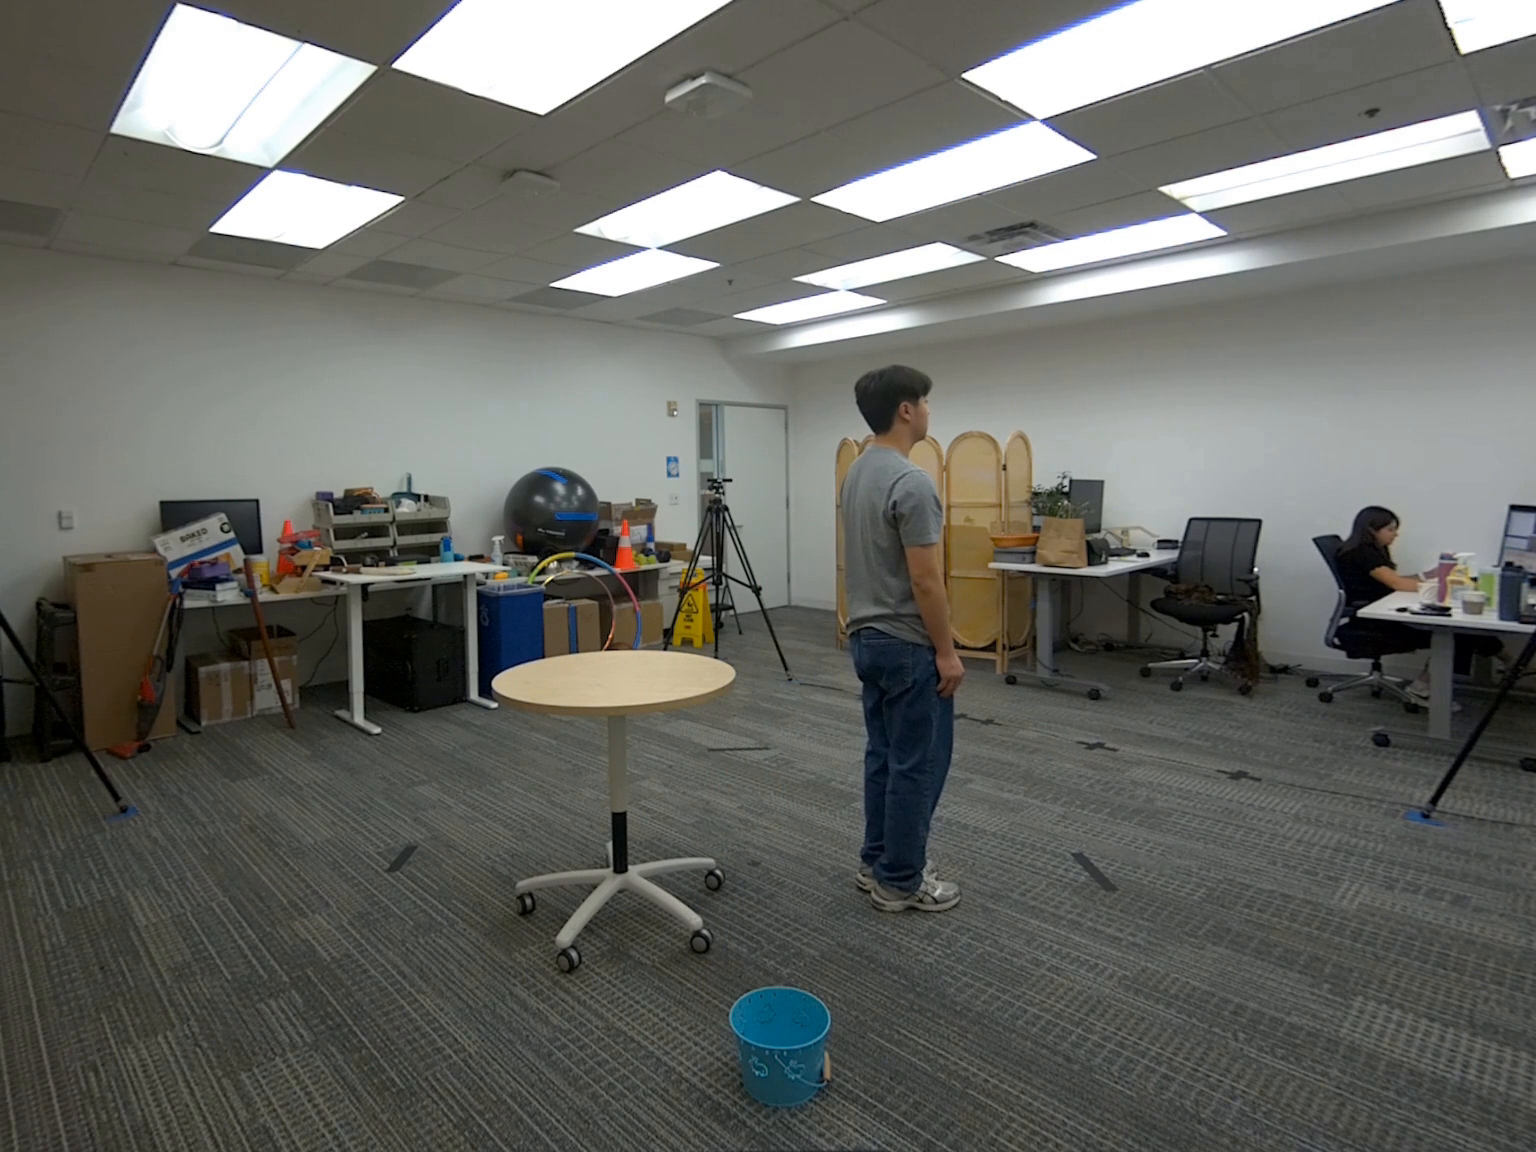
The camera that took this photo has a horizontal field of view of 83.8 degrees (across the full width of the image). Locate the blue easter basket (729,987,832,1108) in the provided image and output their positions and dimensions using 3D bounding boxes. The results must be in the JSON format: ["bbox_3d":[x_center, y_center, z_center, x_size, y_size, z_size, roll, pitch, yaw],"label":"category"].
[{"bbox_3d":[0.035,1.099,1.980,0.243,0.155,0.245,-2,5,-2],"label":"blue easter basket"}]
